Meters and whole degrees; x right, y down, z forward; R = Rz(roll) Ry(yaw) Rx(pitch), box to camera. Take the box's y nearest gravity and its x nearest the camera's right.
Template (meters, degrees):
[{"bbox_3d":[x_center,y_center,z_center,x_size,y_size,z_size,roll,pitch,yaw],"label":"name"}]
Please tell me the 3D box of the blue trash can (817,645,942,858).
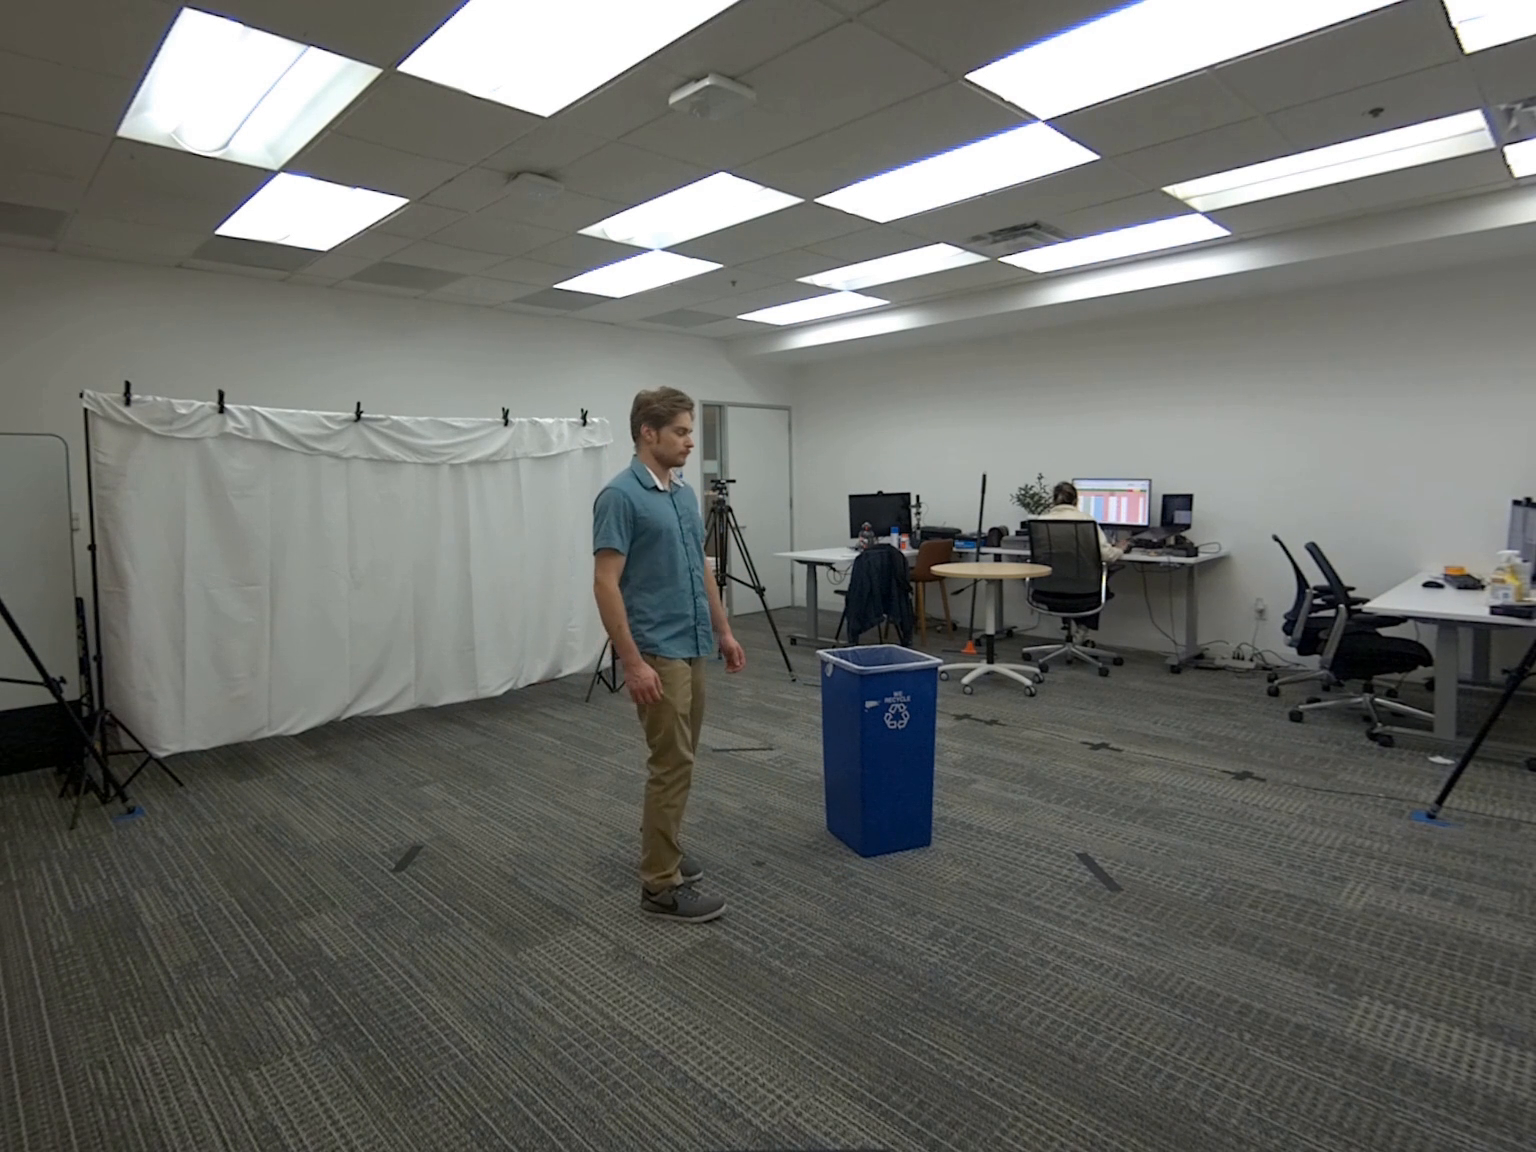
[{"bbox_3d":[0.430,0.658,3.310,0.367,0.711,0.387,-2,5,-23],"label":"blue trash can"}]
